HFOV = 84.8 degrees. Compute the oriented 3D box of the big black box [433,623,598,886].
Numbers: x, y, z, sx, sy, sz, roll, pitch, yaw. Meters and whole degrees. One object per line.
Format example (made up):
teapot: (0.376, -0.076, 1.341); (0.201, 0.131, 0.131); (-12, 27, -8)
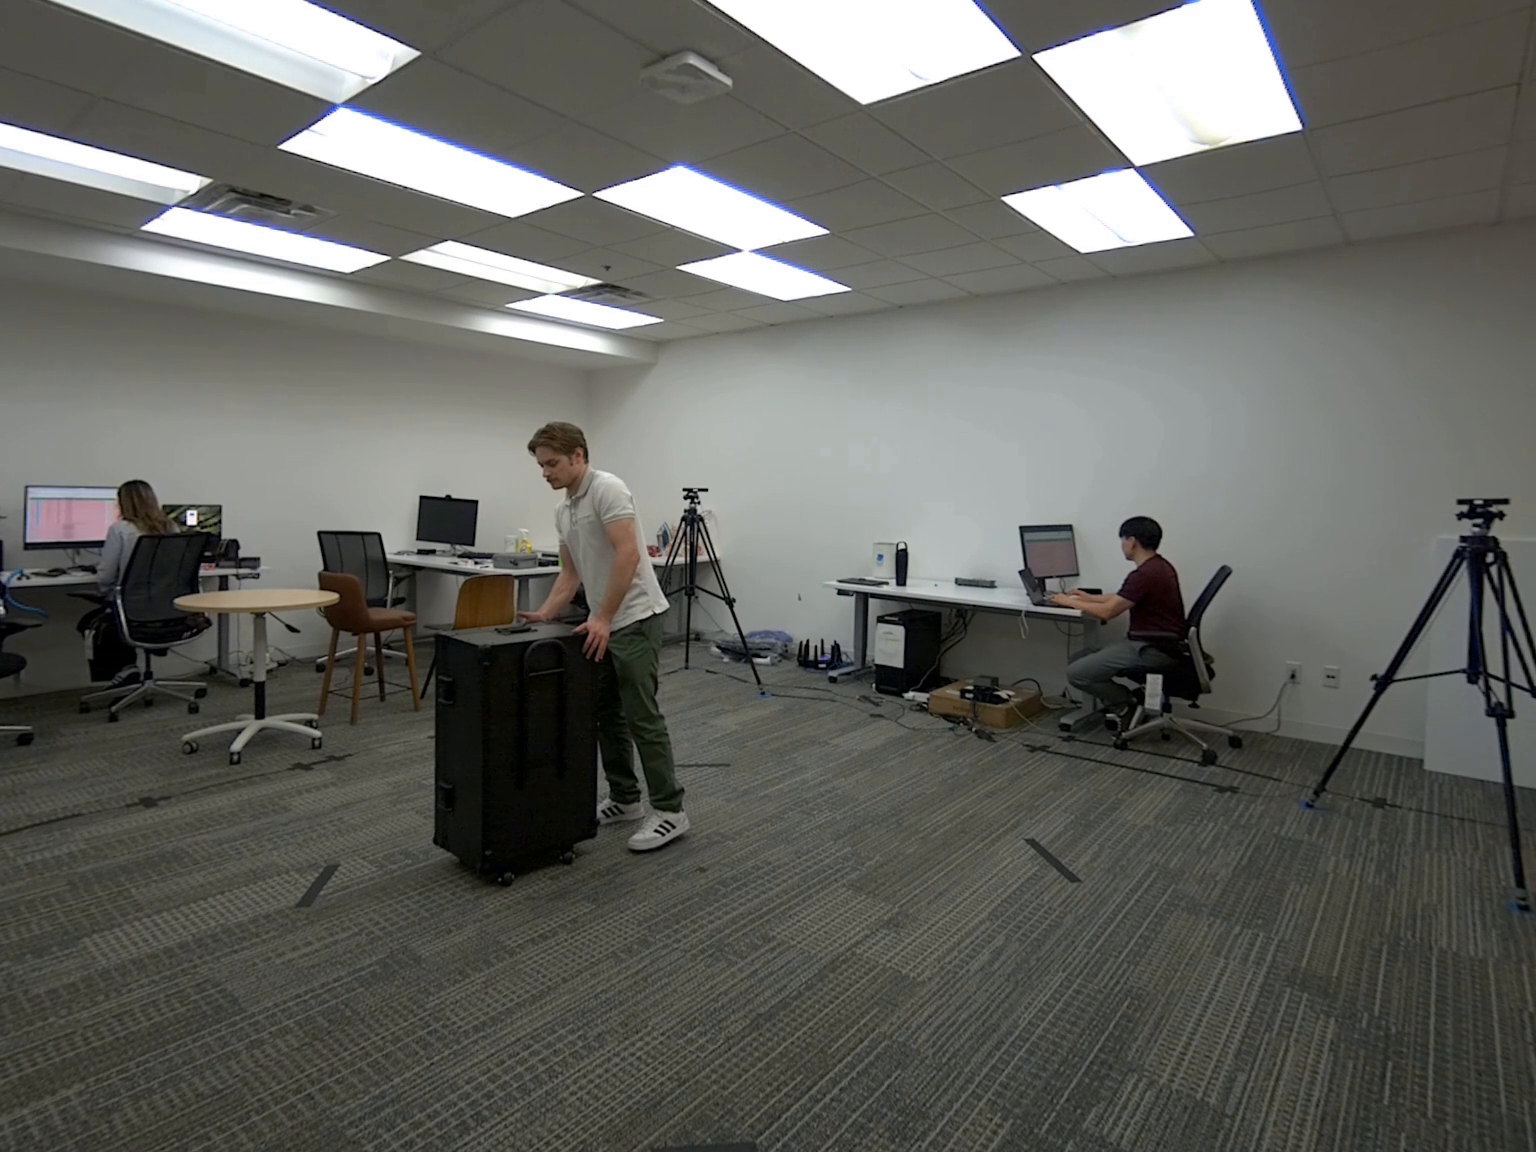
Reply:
big black box: (-0.938, 0.638, 3.147); (0.398, 0.866, 0.507); (4, 5, 44)
